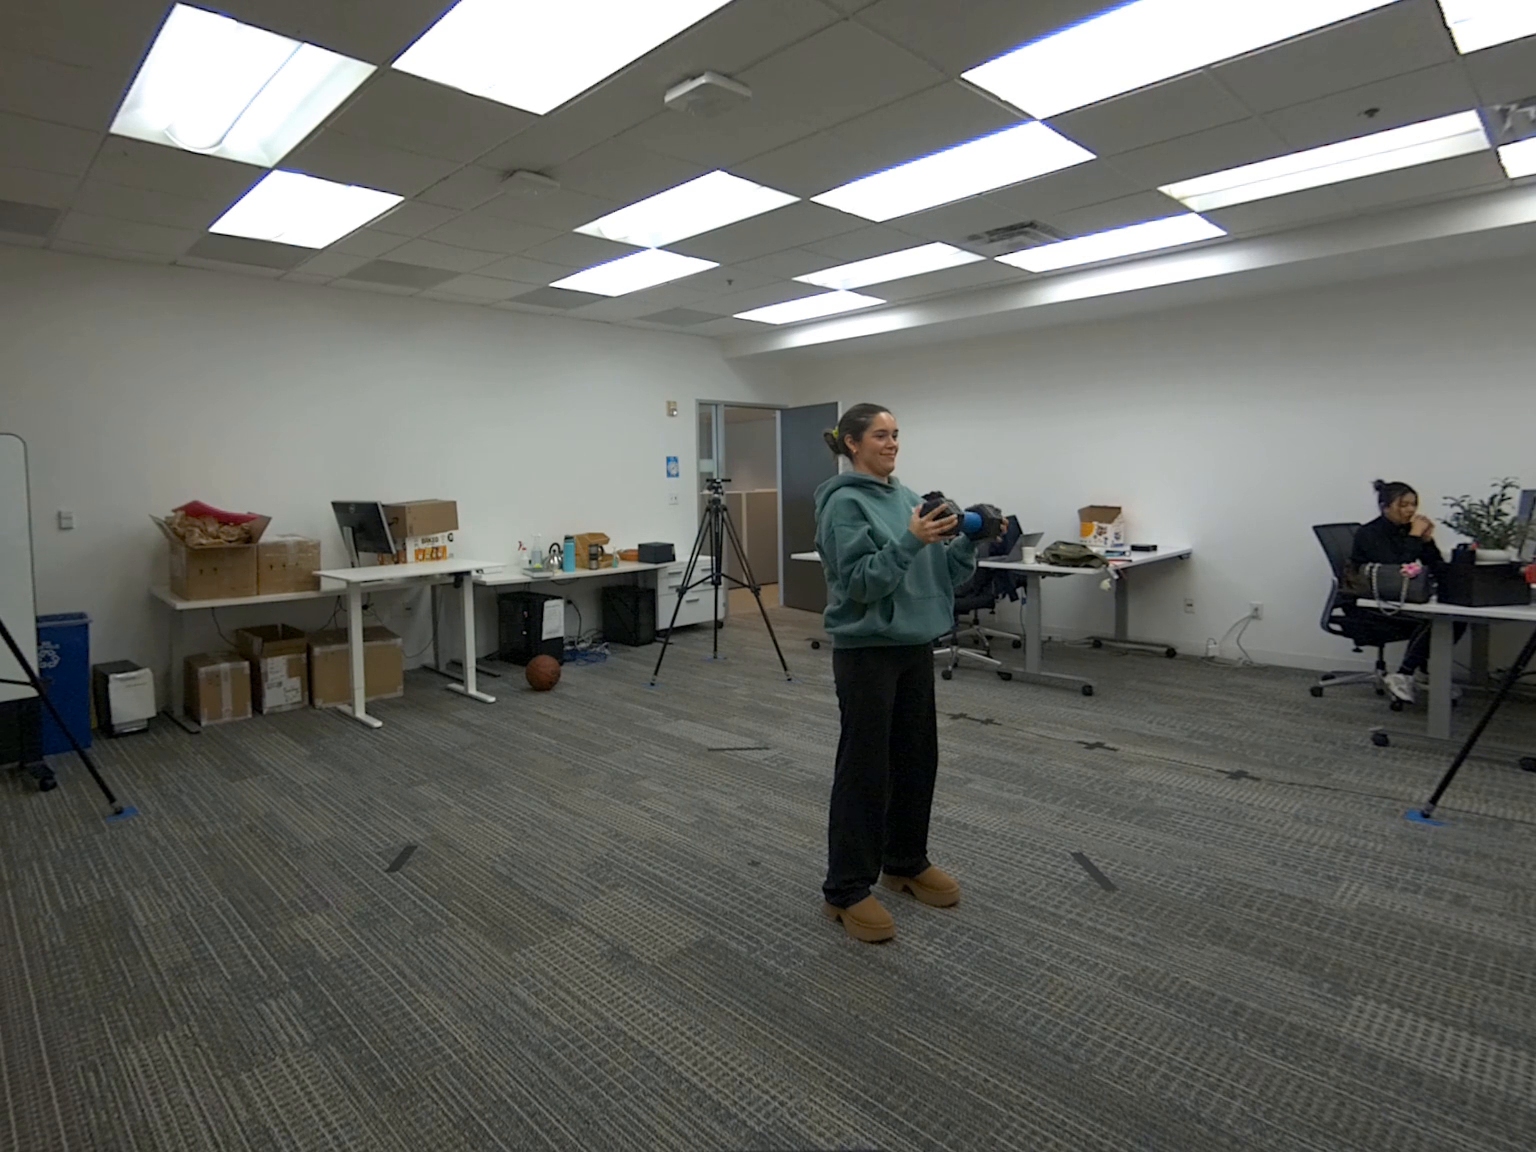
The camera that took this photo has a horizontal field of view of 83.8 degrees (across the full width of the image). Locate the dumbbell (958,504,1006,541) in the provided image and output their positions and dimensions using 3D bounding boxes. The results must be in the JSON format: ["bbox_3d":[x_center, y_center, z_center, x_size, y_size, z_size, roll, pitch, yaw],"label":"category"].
[{"bbox_3d":[0.561,-0.156,2.535,0.284,0.110,0.125,3,-14,-43],"label":"dumbbell"}]
